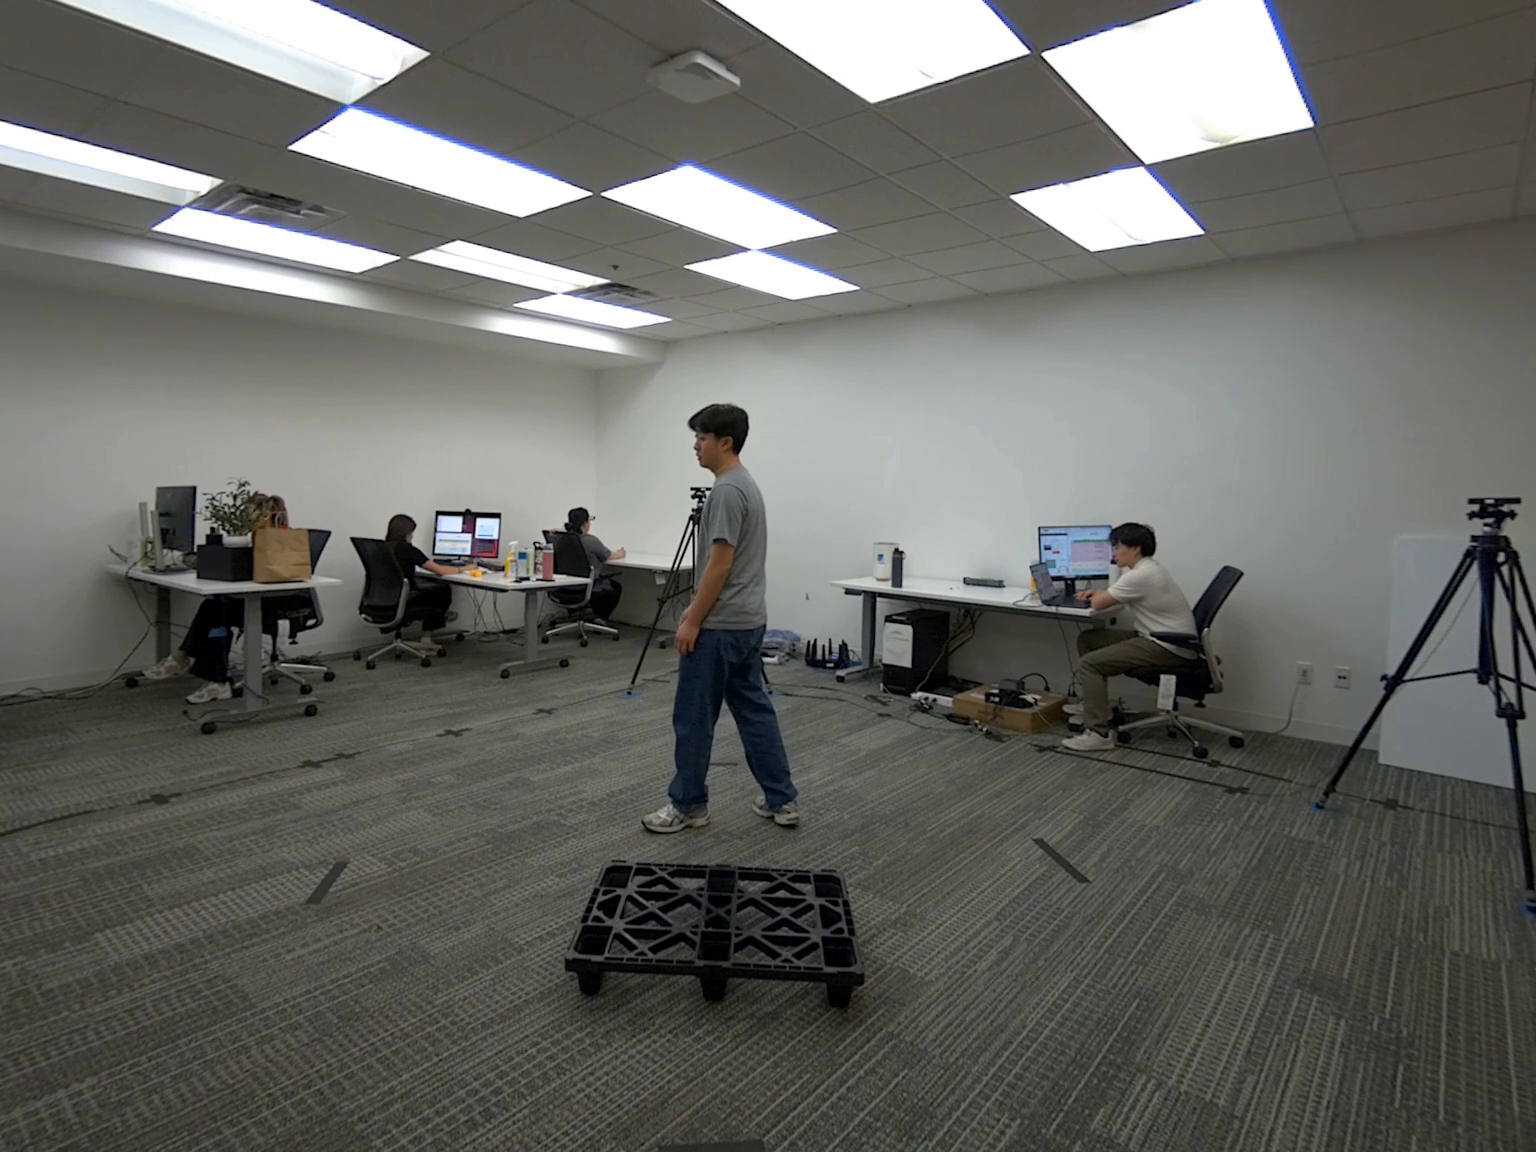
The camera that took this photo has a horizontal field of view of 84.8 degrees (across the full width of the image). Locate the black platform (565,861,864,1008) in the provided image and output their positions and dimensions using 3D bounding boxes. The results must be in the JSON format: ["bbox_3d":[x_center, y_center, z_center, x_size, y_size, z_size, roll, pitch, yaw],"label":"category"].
[{"bbox_3d":[-0.160,1.051,2.541,0.808,0.143,0.606,2,5,2],"label":"black platform"}]
